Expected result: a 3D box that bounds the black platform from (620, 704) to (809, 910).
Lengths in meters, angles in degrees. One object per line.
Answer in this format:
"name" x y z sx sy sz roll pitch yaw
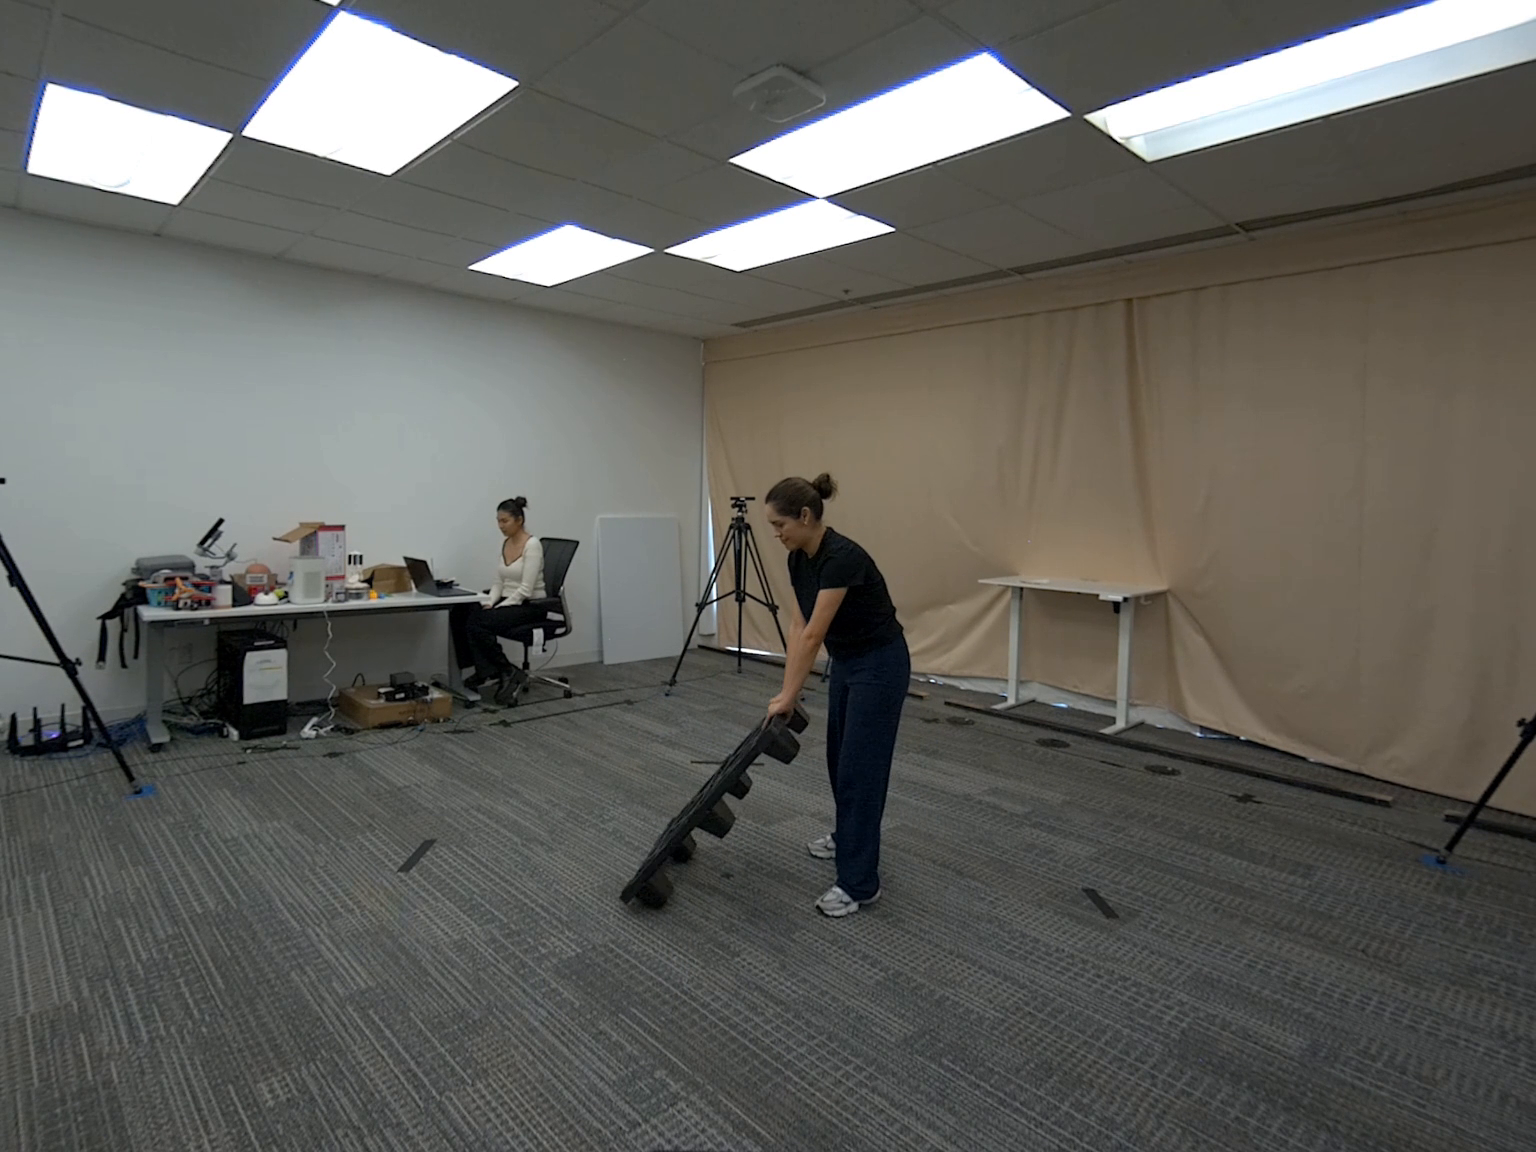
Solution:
"black platform" -0.154 0.791 3.001 0.144 0.805 0.602 40 9 3
